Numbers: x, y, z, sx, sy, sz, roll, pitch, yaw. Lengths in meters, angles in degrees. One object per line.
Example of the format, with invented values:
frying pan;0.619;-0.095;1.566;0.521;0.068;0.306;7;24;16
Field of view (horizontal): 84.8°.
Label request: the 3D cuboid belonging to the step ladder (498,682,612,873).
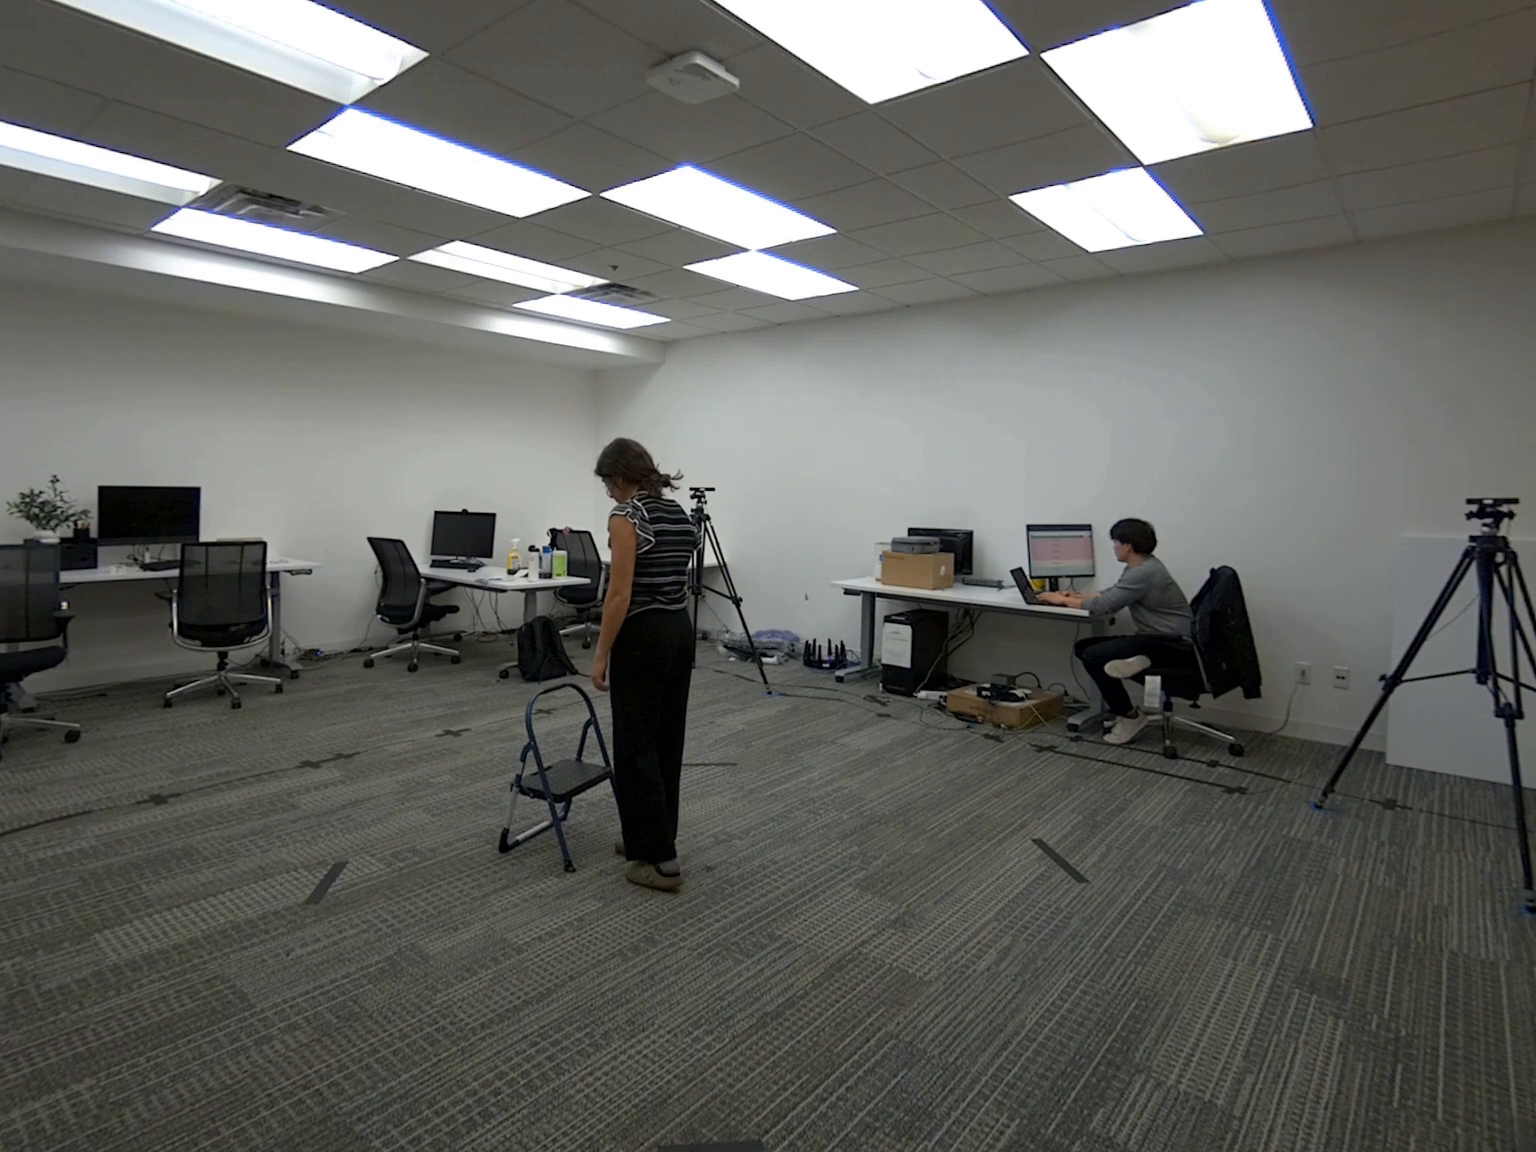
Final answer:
step ladder;-0.790;0.734;3.310;0.358;0.604;0.421;3;4;24
